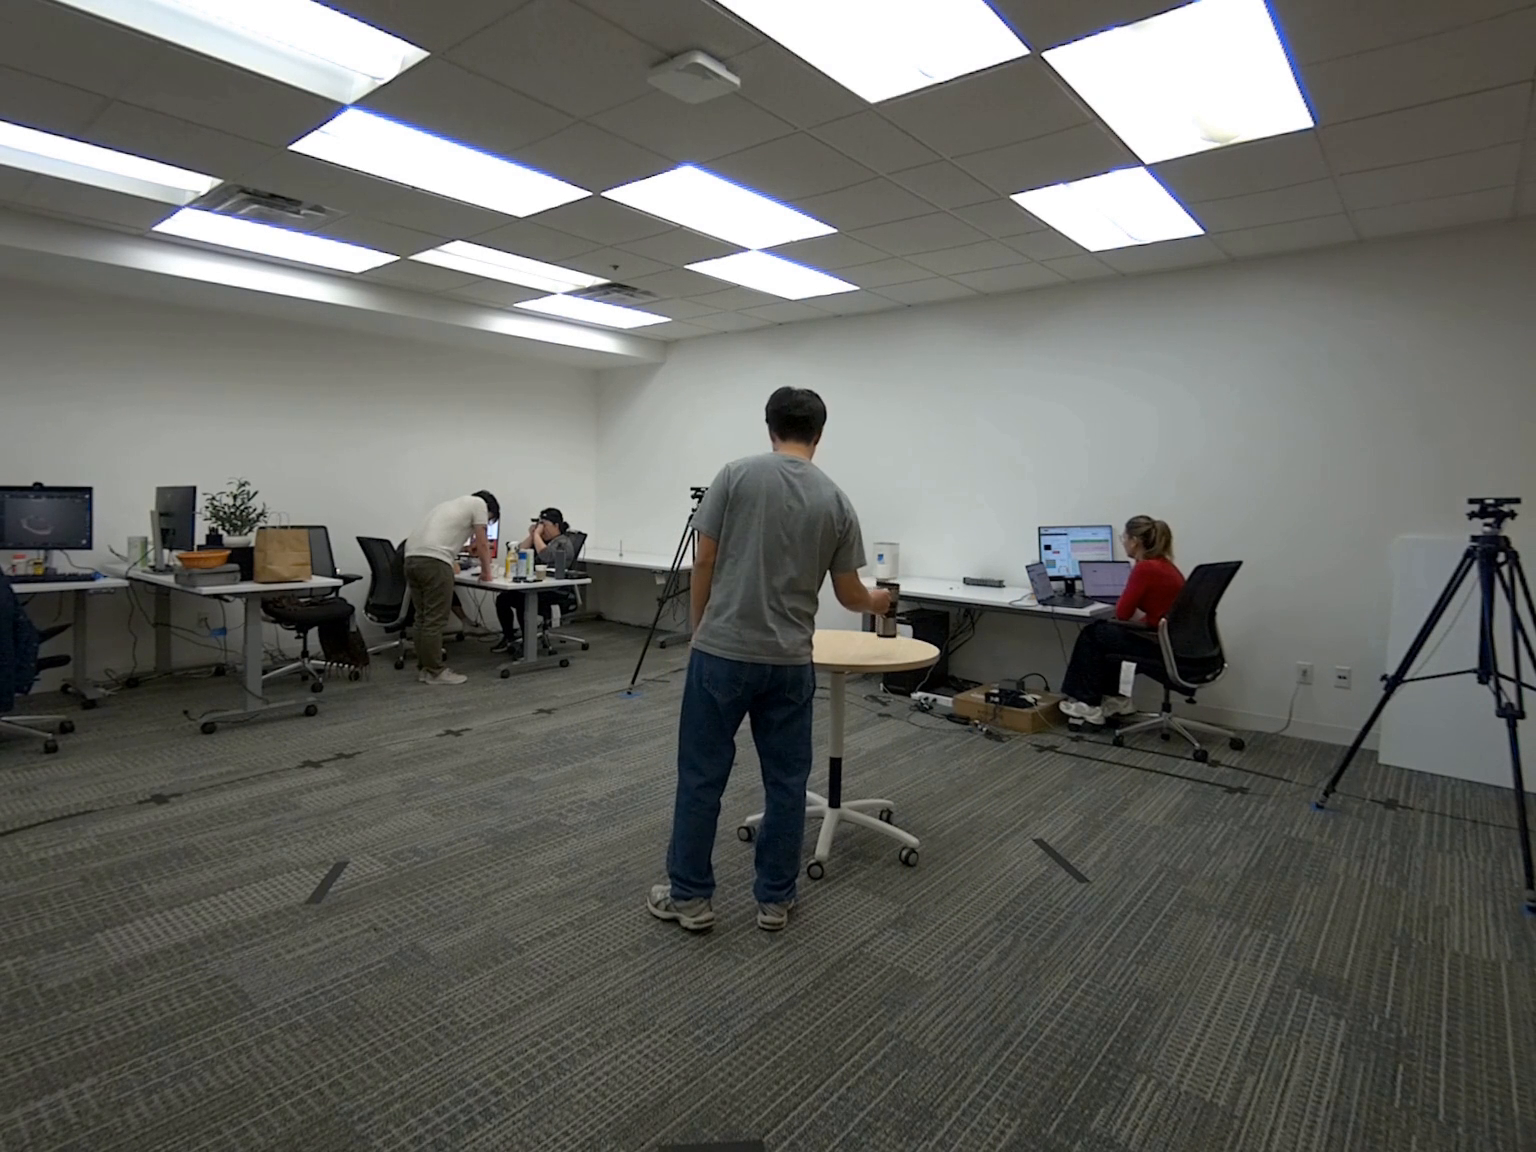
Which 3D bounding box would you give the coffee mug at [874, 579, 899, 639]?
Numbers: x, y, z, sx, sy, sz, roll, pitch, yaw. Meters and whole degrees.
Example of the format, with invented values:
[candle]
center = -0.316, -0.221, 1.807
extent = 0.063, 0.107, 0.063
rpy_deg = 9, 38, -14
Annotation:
[coffee mug]
center = 0.398, 0.118, 3.103
extent = 0.121, 0.203, 0.089
rpy_deg = 5, 2, -7
